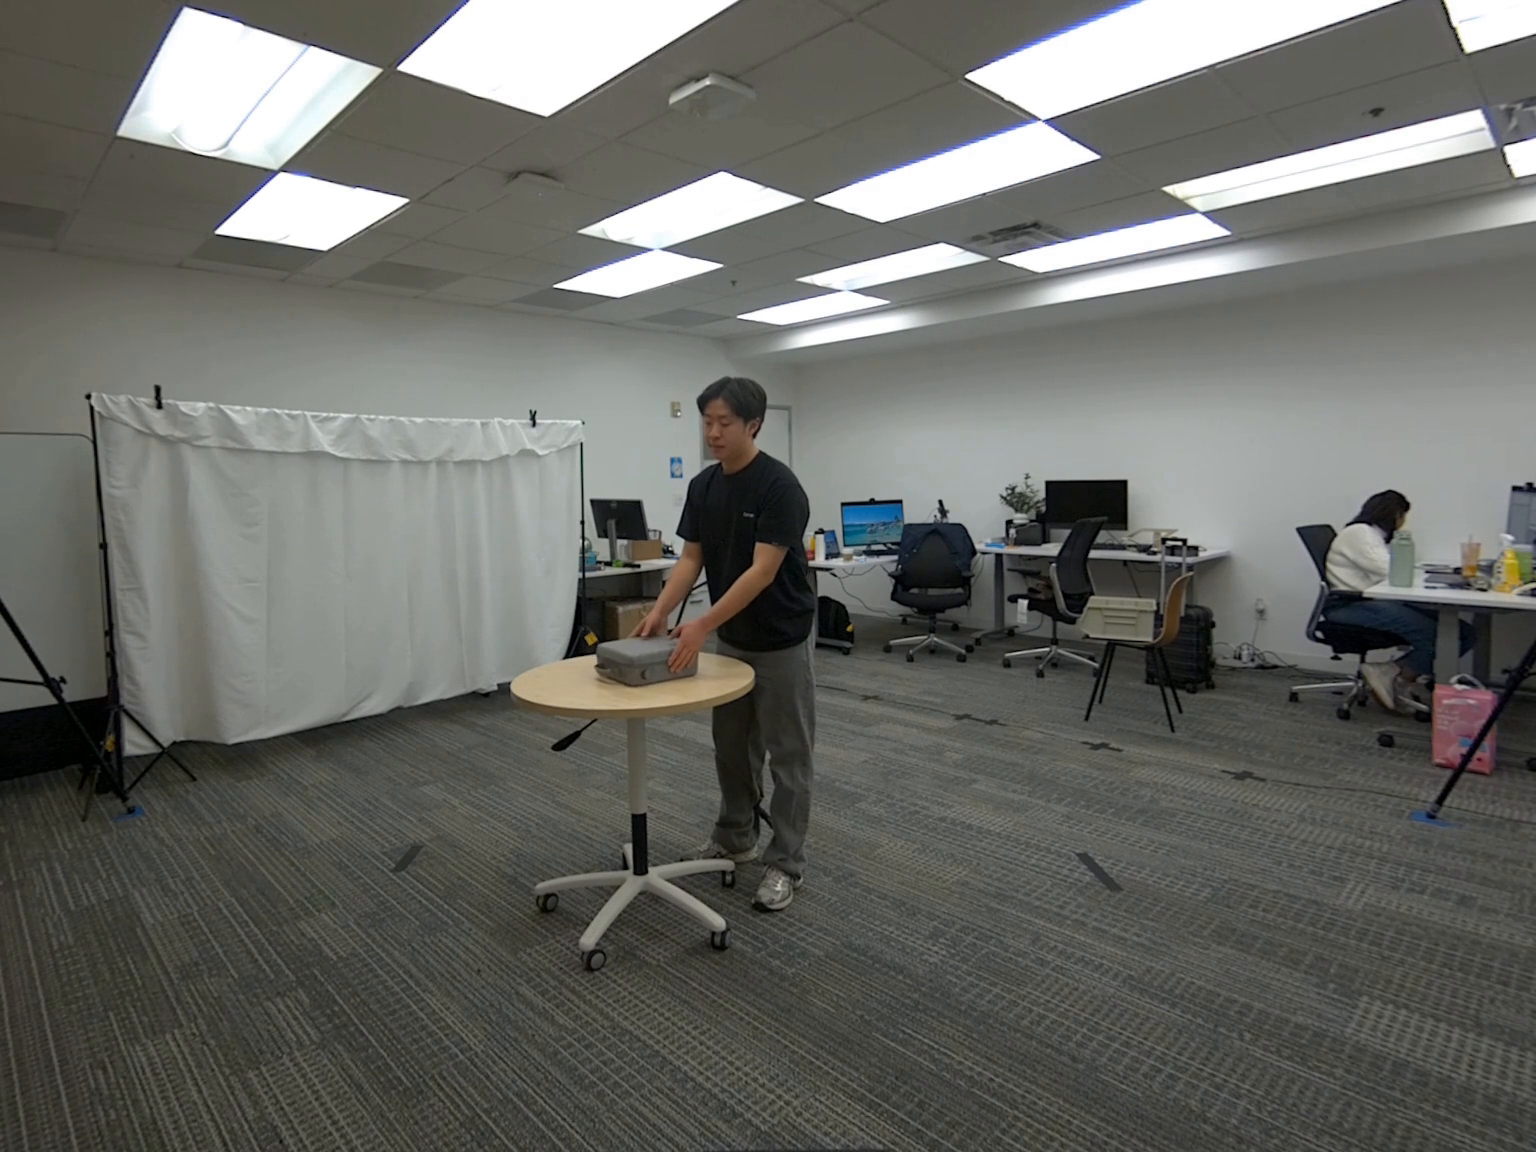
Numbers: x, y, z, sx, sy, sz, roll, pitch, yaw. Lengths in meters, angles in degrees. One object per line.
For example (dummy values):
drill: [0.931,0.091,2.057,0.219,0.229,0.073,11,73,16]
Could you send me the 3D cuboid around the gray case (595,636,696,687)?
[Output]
gray case: [-0.395,0.267,2.704,0.280,0.102,0.271,-7,9,-35]
